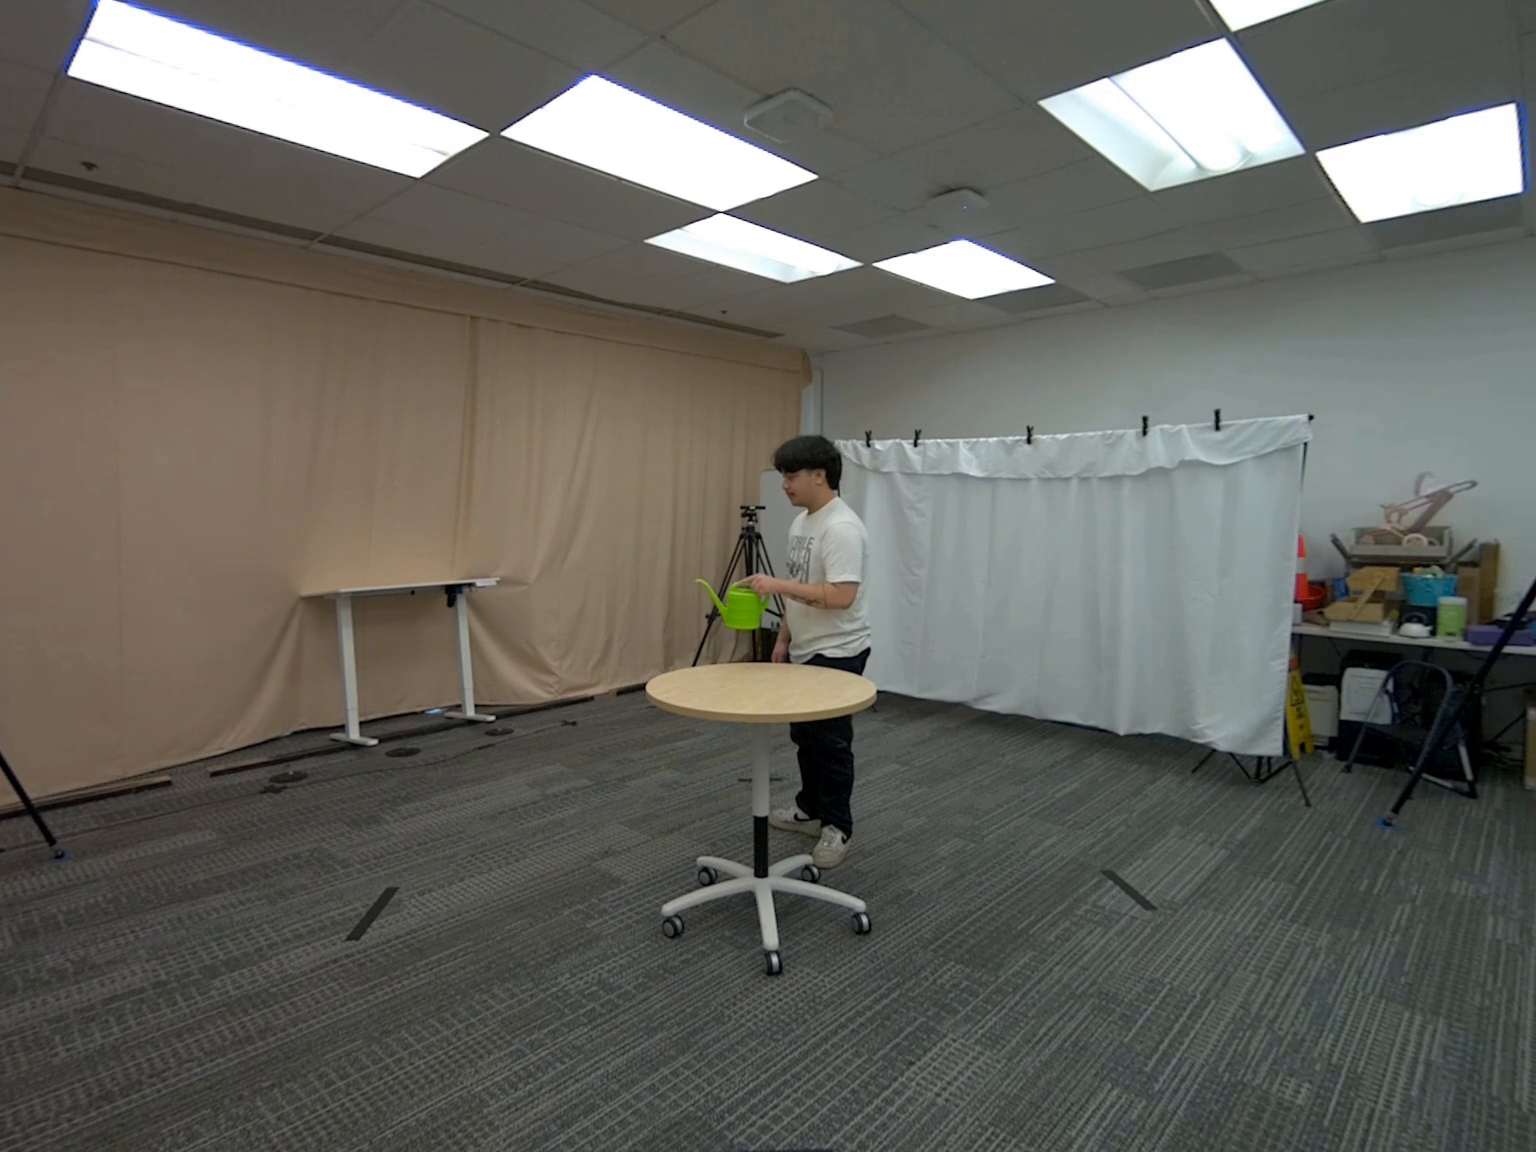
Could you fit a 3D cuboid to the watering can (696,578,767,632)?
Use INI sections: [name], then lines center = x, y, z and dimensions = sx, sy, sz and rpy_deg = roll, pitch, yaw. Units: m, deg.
[watering can]
center = -0.128, 0.105, 3.156
dimensions = 0.280, 0.175, 0.098
rpy_deg = 5, 13, 6
